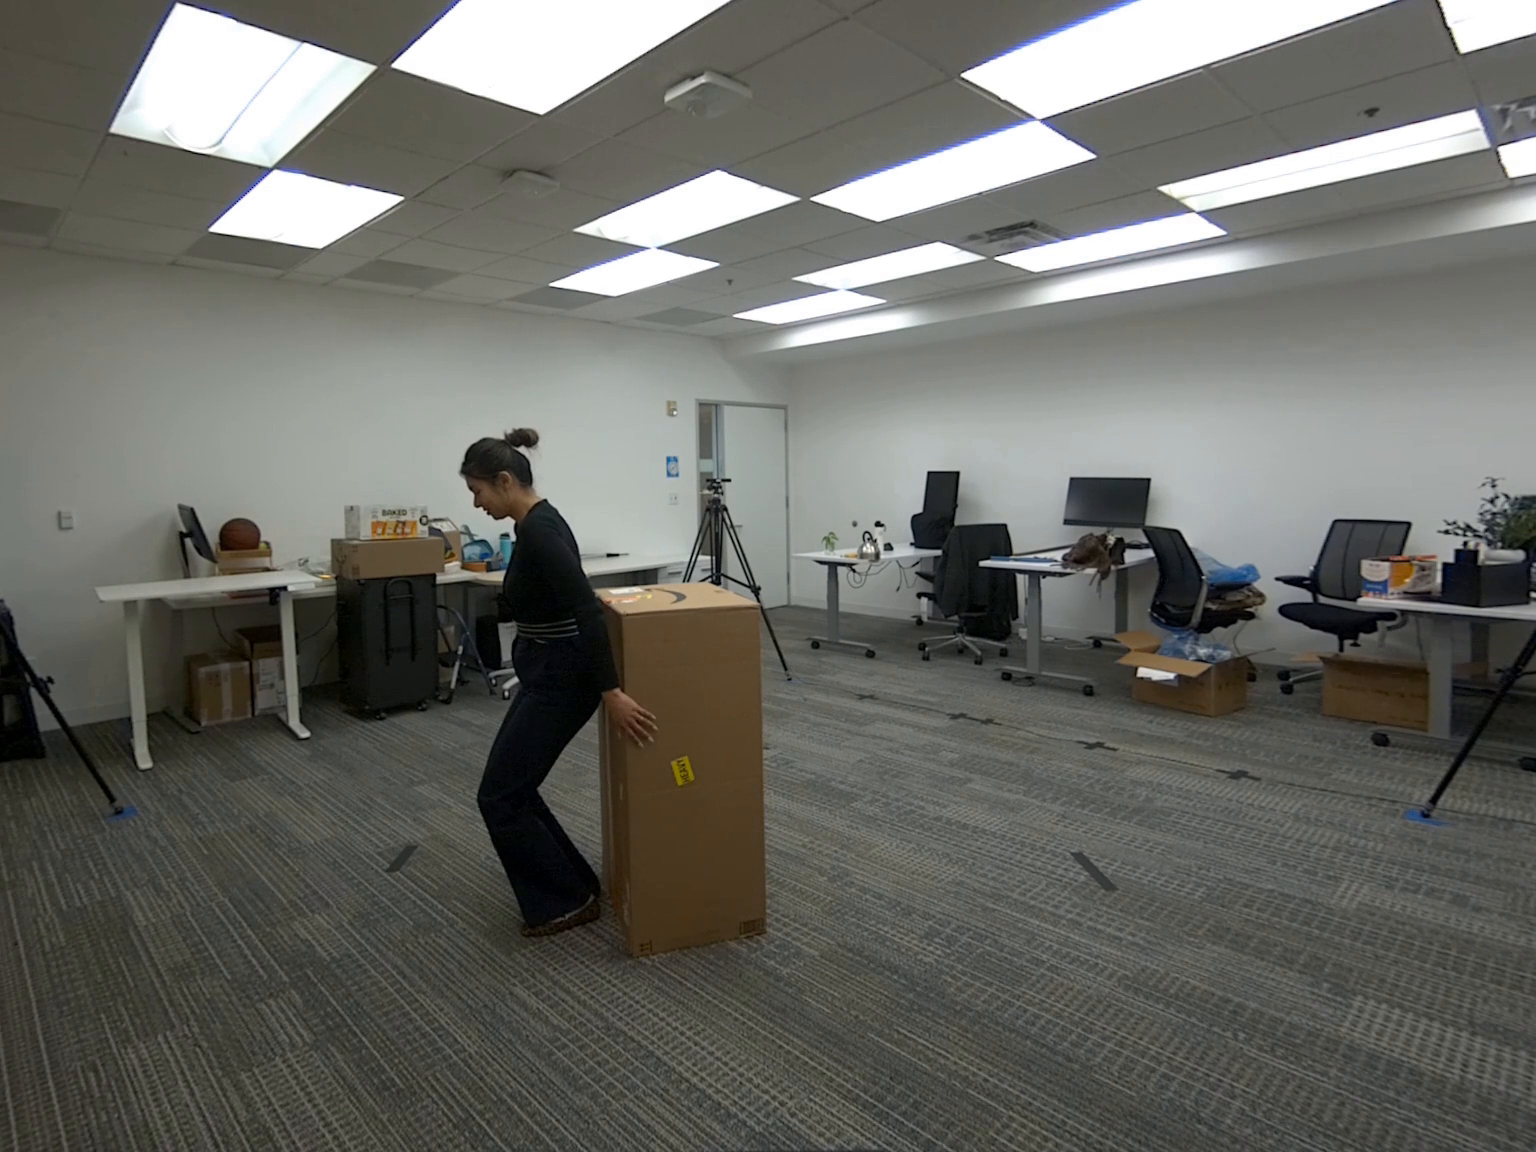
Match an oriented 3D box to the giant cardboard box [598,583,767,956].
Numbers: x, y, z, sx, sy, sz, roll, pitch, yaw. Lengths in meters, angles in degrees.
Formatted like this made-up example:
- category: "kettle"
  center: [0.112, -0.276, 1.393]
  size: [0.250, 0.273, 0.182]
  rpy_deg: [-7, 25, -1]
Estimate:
- category: "giant cardboard box"
  center: [-0.304, 0.573, 2.804]
  size: [0.419, 1.022, 0.589]
  rpy_deg: [-2, 5, -19]
